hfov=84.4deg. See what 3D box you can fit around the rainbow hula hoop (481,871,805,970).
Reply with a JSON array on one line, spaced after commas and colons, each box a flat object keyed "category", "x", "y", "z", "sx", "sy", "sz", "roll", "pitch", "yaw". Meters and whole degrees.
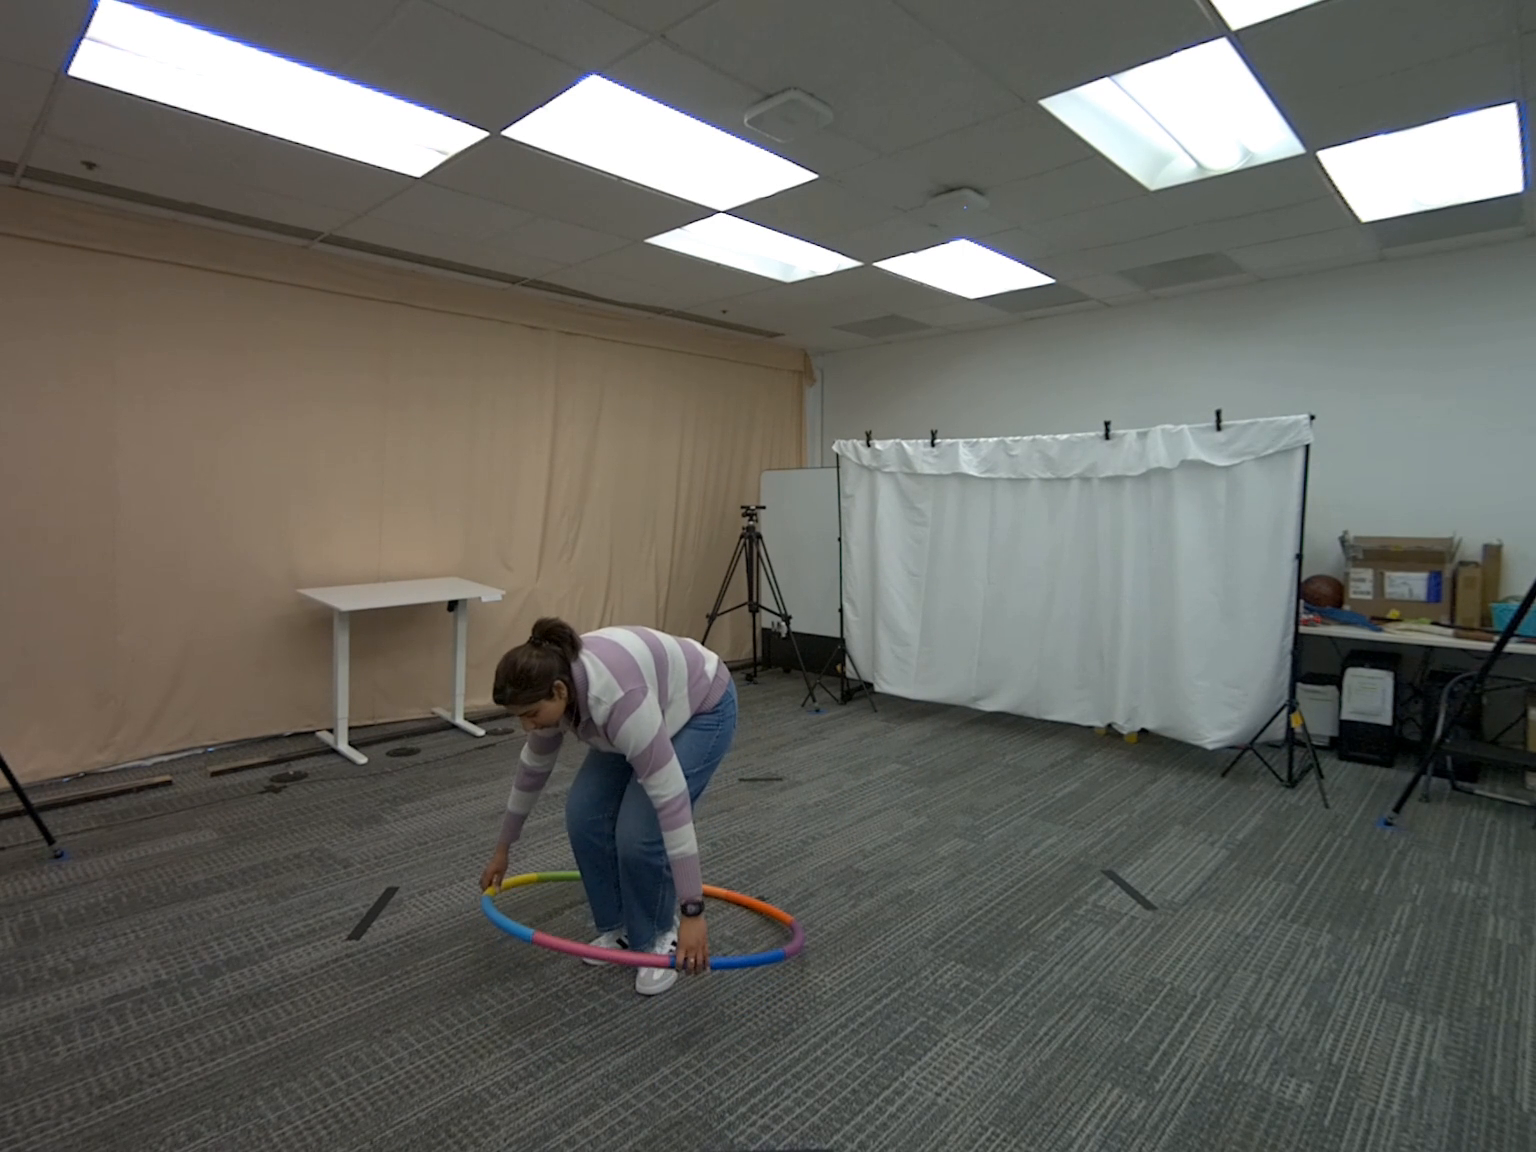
[{"category": "rainbow hula hoop", "x": -0.375, "y": 1.029, "z": 2.585, "sx": 0.979, "sy": 0.036, "sz": 0.974, "roll": 7, "pitch": -9, "yaw": -1}]
